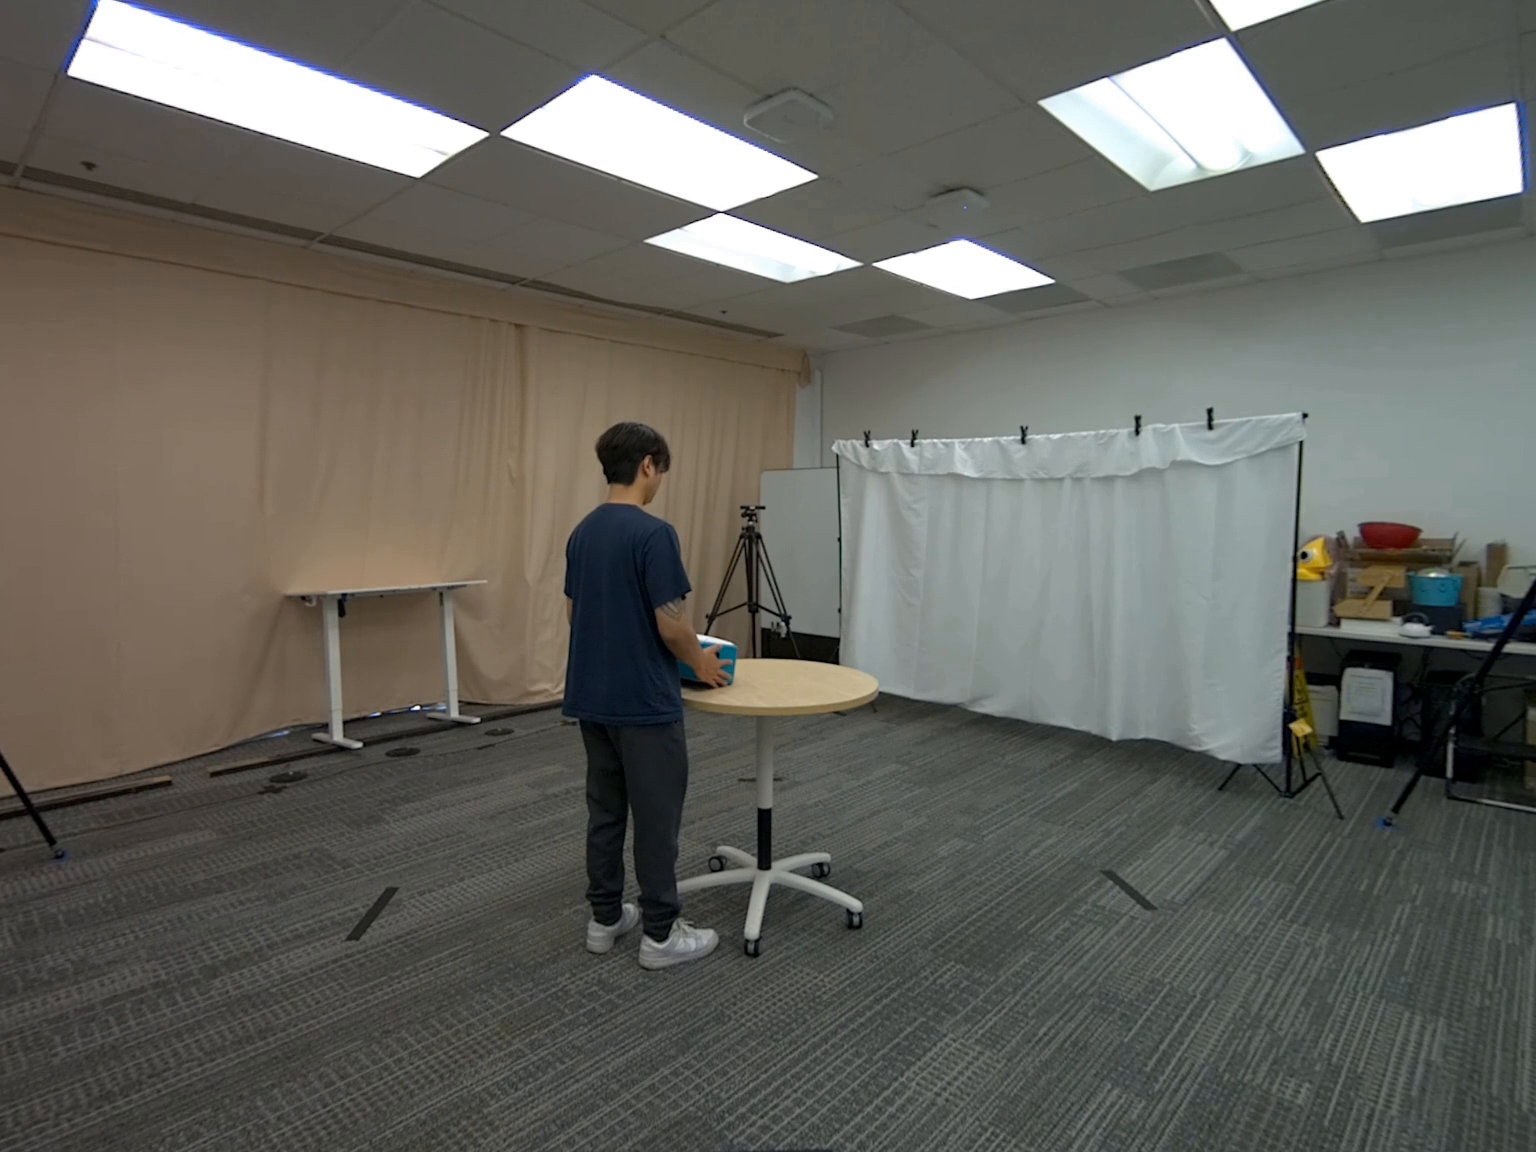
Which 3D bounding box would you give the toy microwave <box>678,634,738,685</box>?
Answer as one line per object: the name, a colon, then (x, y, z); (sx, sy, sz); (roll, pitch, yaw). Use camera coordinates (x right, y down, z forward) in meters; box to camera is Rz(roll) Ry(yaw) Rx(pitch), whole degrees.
toy microwave: (-0.244, 0.271, 2.849); (0.296, 0.152, 0.178); (5, -4, 40)
